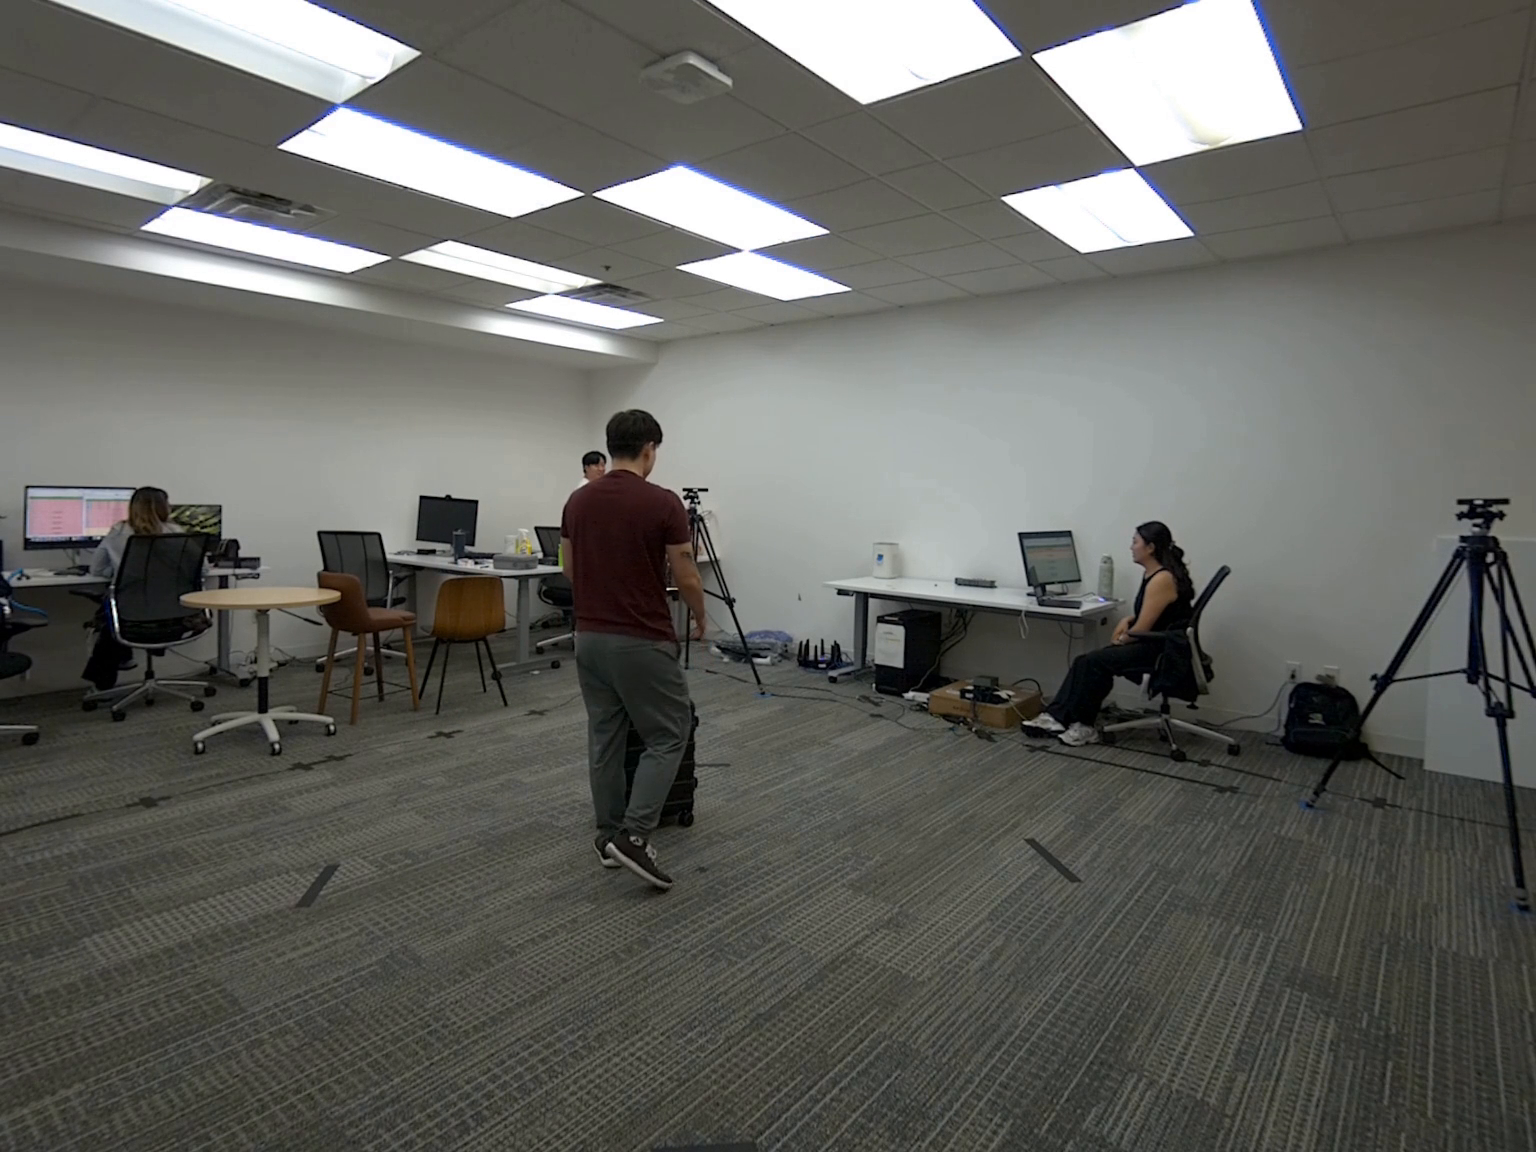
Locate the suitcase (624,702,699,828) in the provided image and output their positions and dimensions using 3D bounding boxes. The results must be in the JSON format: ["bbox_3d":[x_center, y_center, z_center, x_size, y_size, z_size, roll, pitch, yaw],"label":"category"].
[{"bbox_3d":[-0.511,0.540,3.554,0.375,0.978,0.263,0,1,-23],"label":"suitcase"}]
